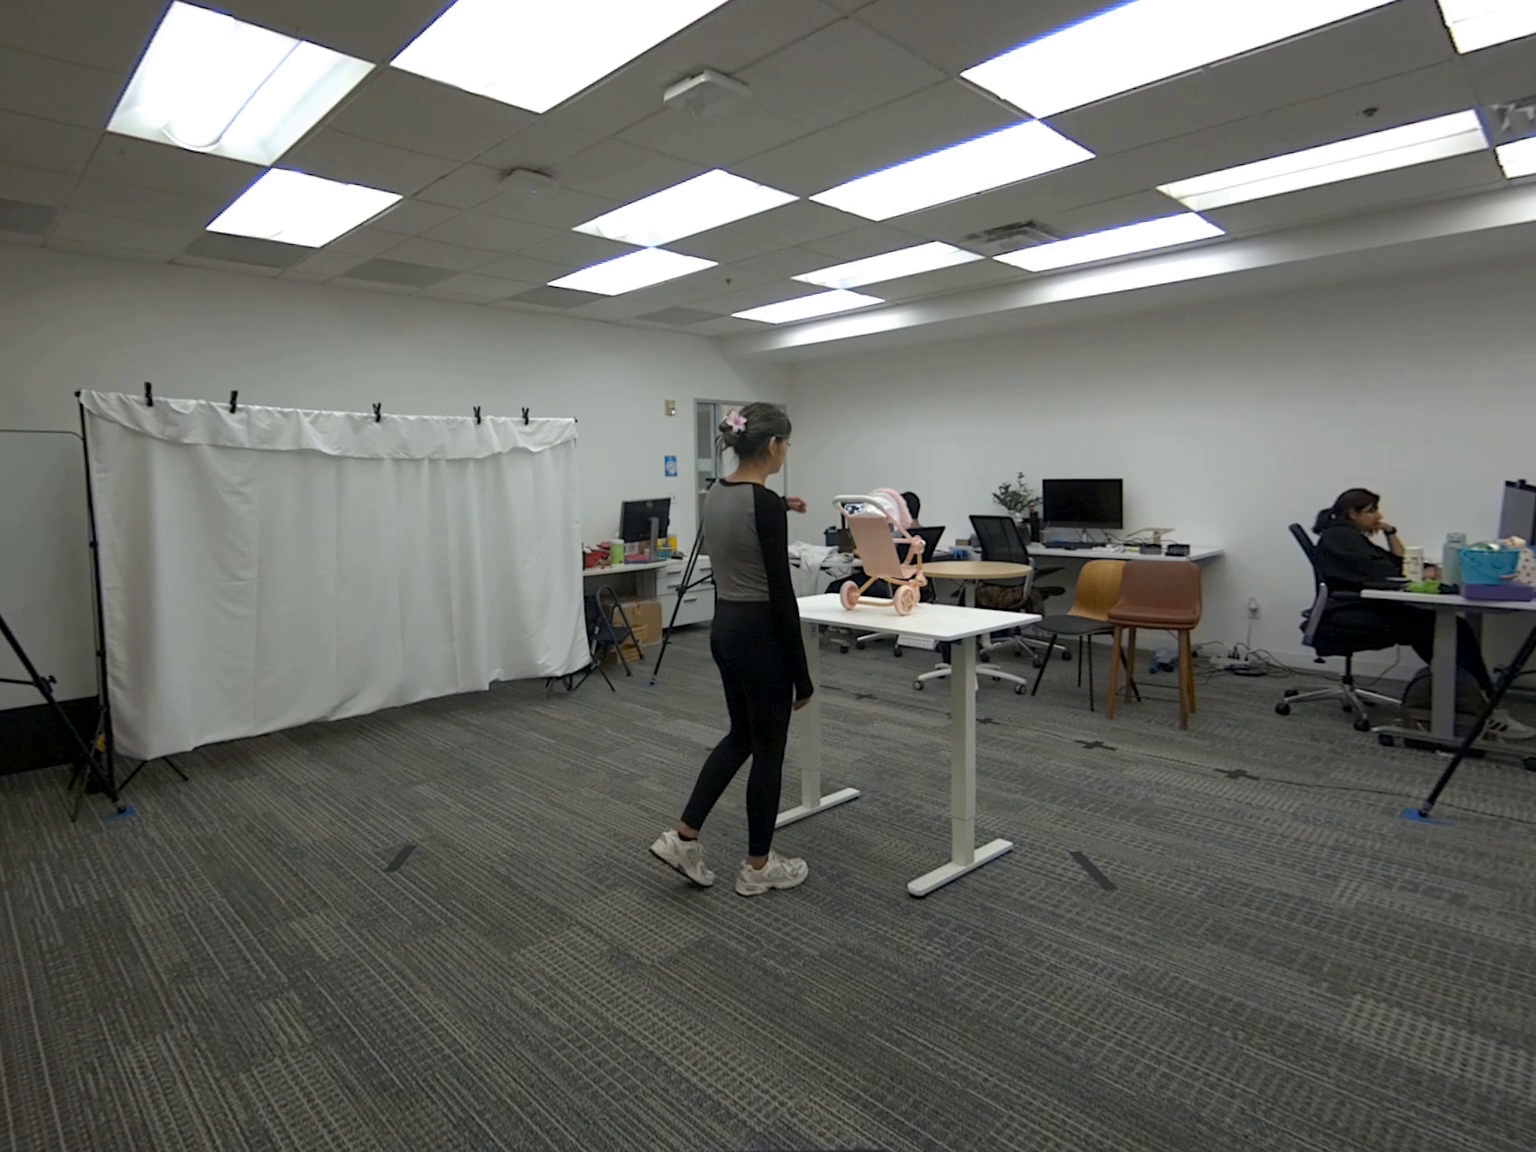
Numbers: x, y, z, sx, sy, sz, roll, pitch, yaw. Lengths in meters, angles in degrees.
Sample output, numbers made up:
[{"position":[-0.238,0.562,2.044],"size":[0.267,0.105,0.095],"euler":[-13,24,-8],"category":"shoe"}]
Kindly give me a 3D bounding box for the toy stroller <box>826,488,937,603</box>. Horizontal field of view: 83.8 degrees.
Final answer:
[{"position":[0.455,-0.091,3.251],"size":[0.336,0.527,0.290],"euler":[-22,18,-40],"category":"toy stroller"}]
